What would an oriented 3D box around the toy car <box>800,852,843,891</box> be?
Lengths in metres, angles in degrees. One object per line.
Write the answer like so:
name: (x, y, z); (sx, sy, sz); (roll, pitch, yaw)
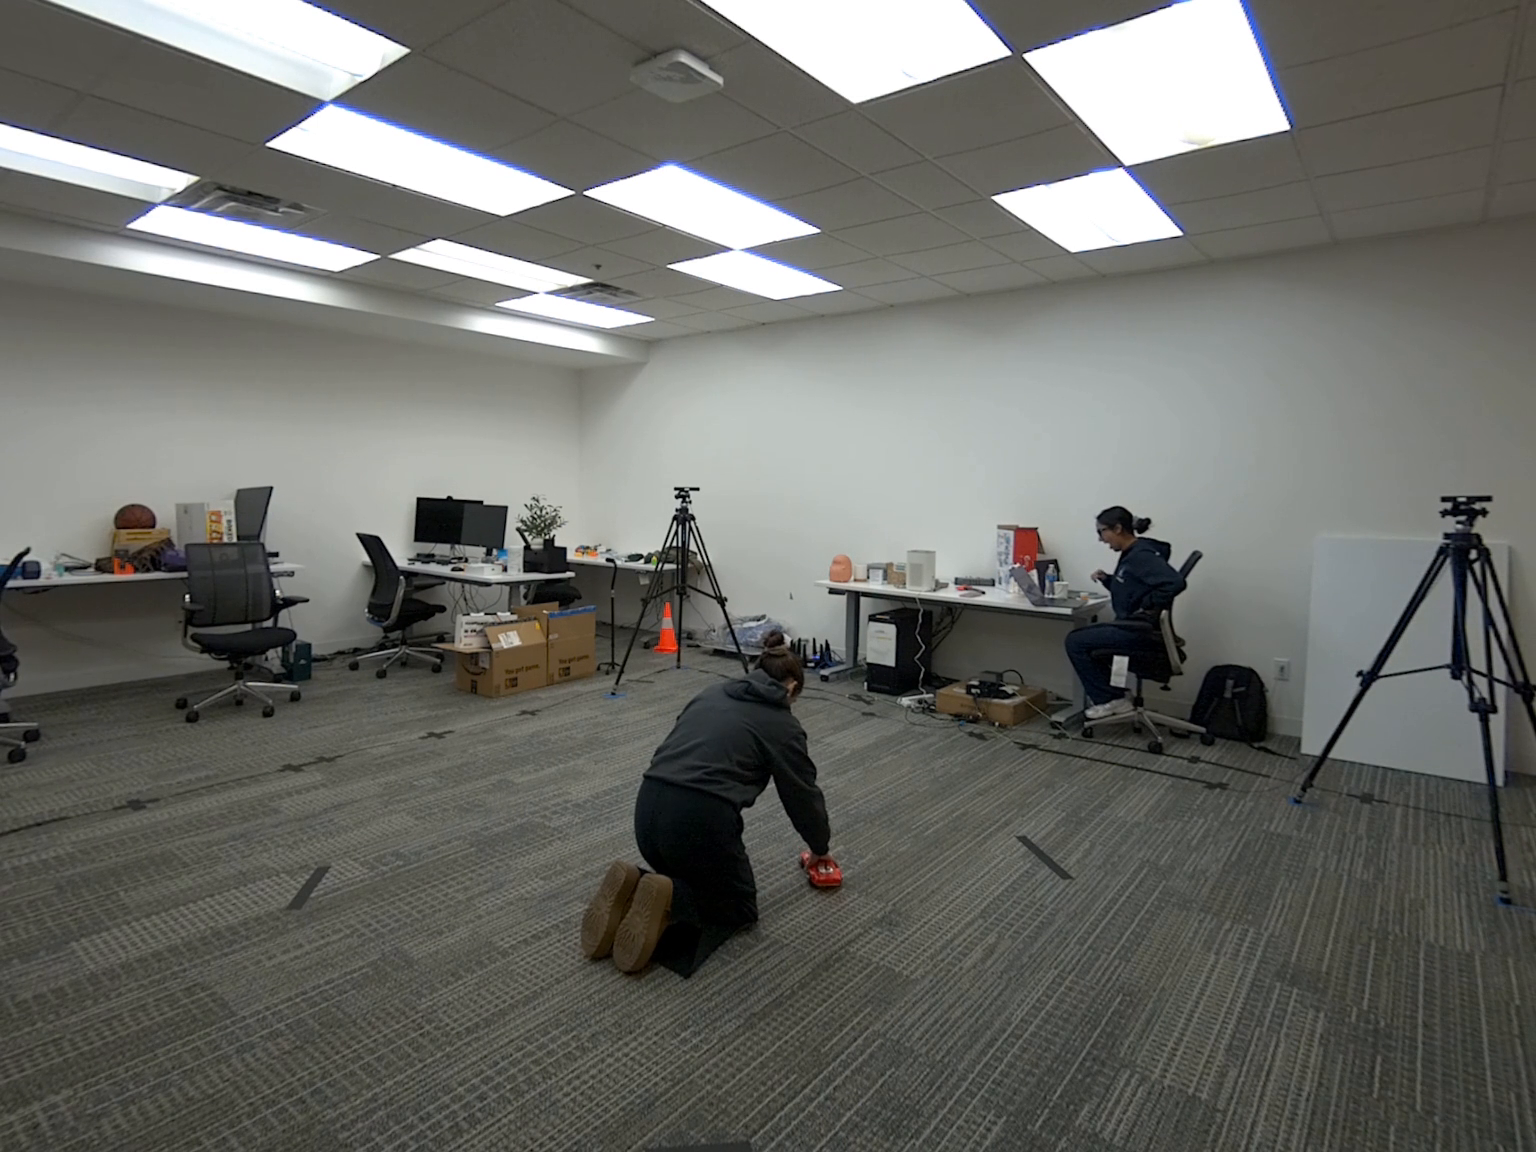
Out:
toy car: (0.198, 1.050, 3.045); (0.129, 0.084, 0.255); (2, -5, -10)
